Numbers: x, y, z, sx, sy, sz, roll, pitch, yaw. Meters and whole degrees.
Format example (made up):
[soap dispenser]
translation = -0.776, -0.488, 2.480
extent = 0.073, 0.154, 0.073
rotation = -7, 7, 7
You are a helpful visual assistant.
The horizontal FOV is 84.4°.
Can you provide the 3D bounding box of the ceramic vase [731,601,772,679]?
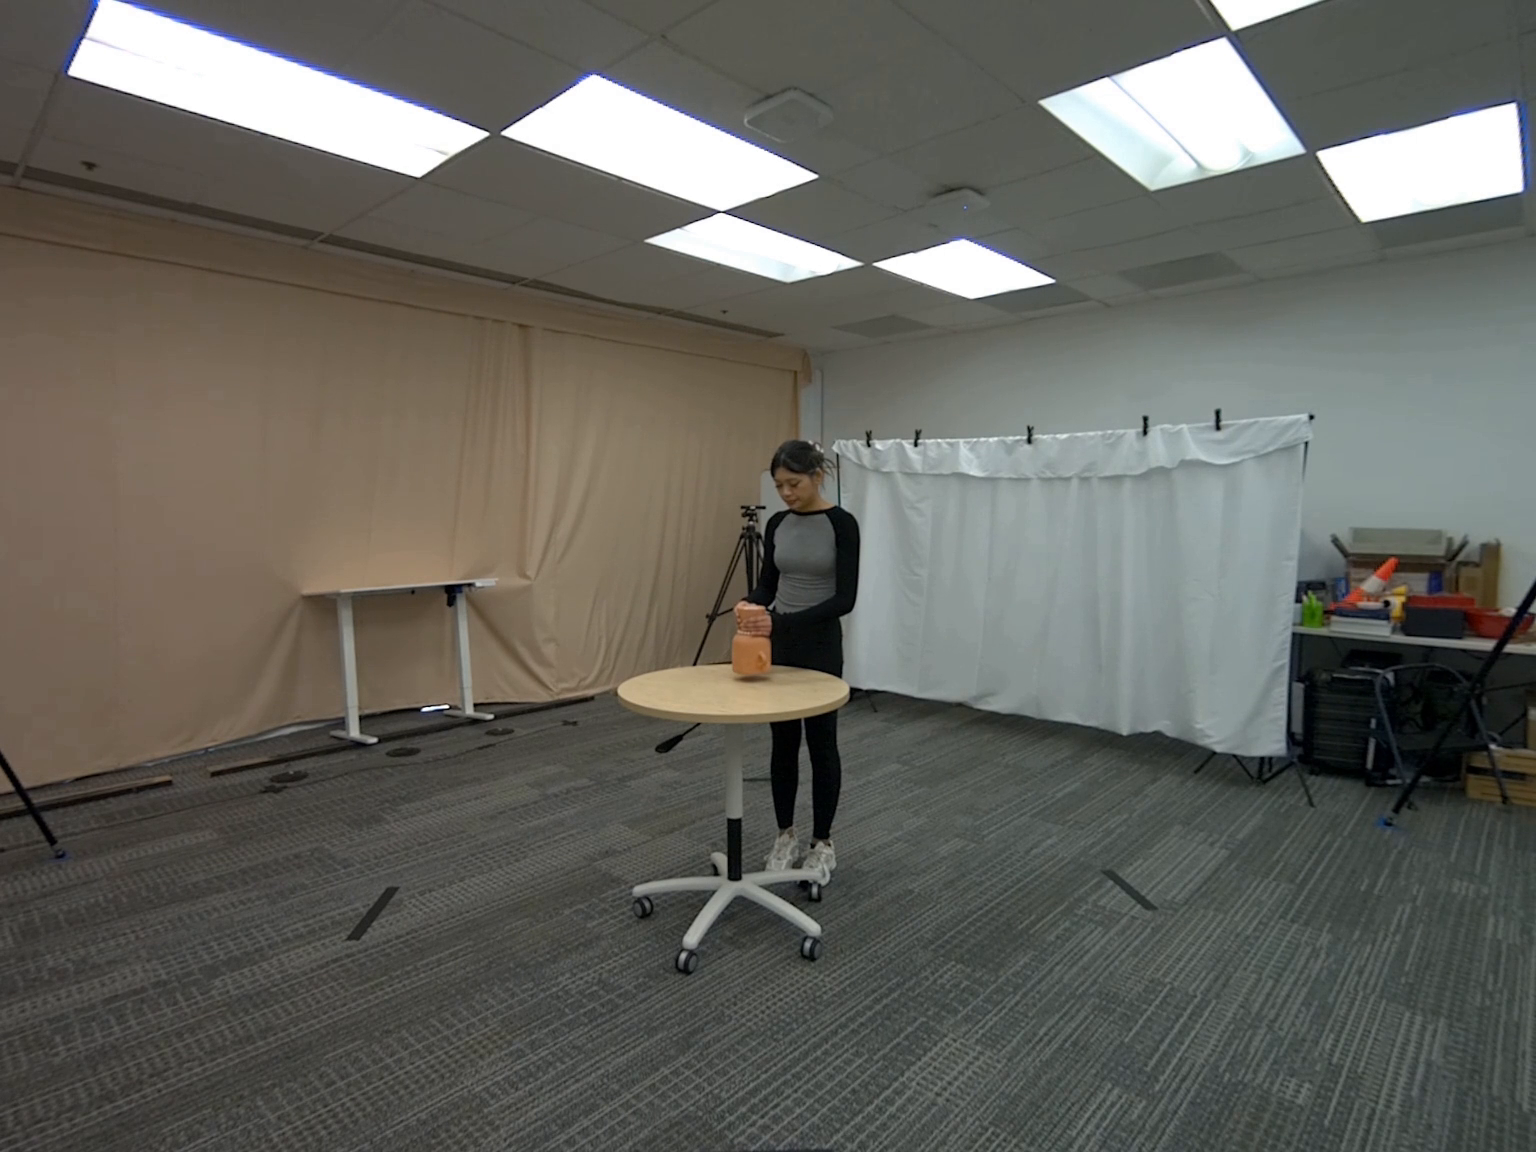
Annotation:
[ceramic vase]
translation = -0.055, 0.216, 2.897
extent = 0.163, 0.219, 0.131
rotation = 6, 5, 25
